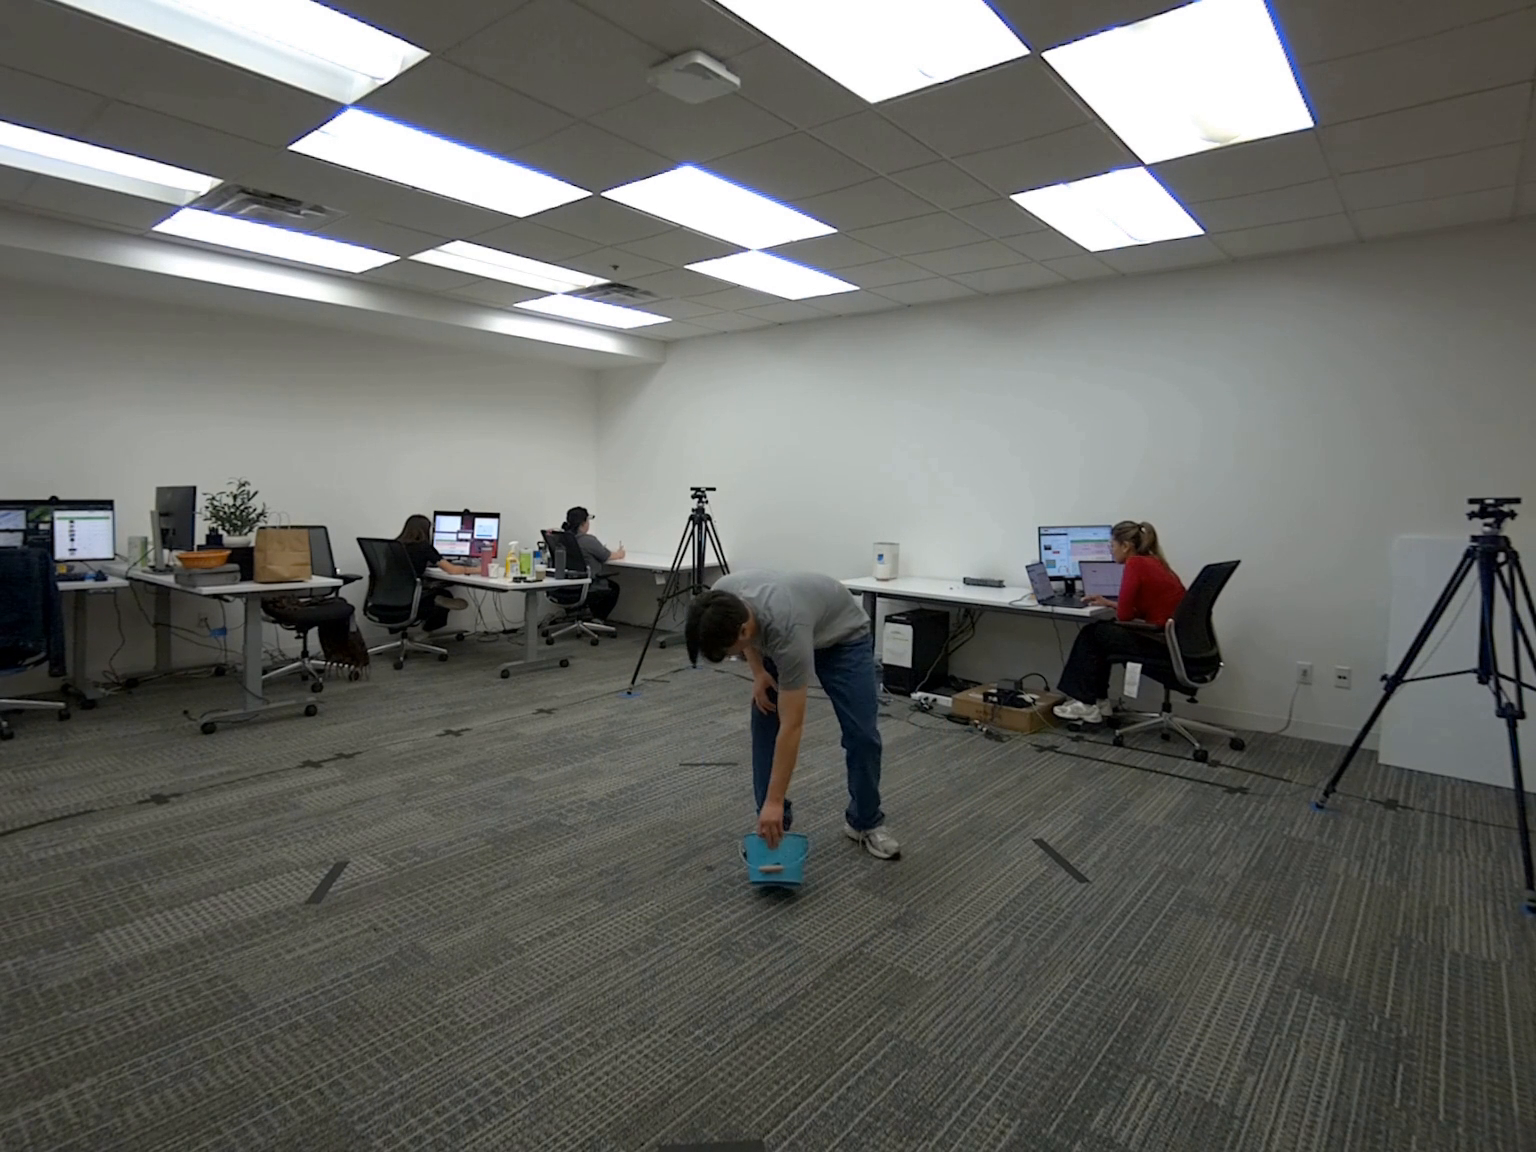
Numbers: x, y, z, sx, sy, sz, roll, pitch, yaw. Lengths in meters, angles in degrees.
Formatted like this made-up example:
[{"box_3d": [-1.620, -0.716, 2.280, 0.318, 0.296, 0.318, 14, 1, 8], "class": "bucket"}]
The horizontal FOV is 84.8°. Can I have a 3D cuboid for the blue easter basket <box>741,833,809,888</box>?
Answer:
[{"box_3d": [0.012, 0.976, 2.941, 0.244, 0.159, 0.238, 5, -26, 1], "class": "blue easter basket"}]
